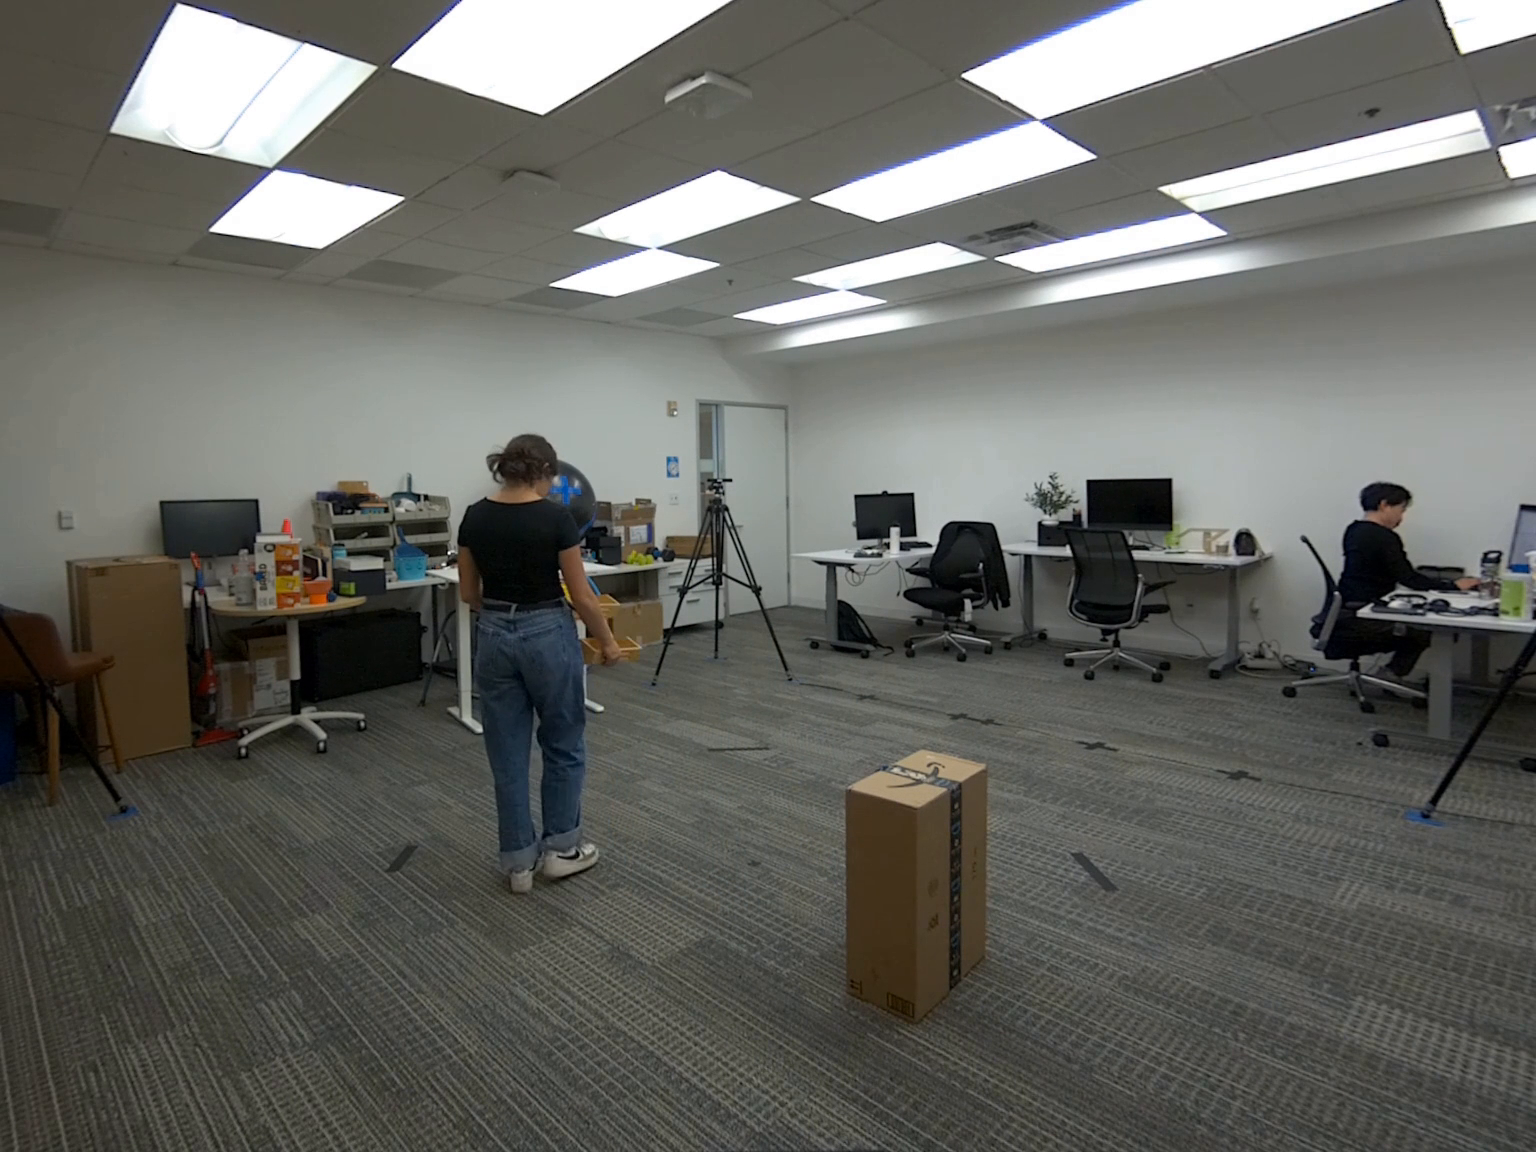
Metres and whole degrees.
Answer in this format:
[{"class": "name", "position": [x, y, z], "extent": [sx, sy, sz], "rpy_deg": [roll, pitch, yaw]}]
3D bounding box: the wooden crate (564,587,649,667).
[{"class": "wooden crate", "position": [-0.671, 0.193, 3.232], "extent": [0.308, 0.275, 0.316], "rpy_deg": [-6, -6, 24]}]
